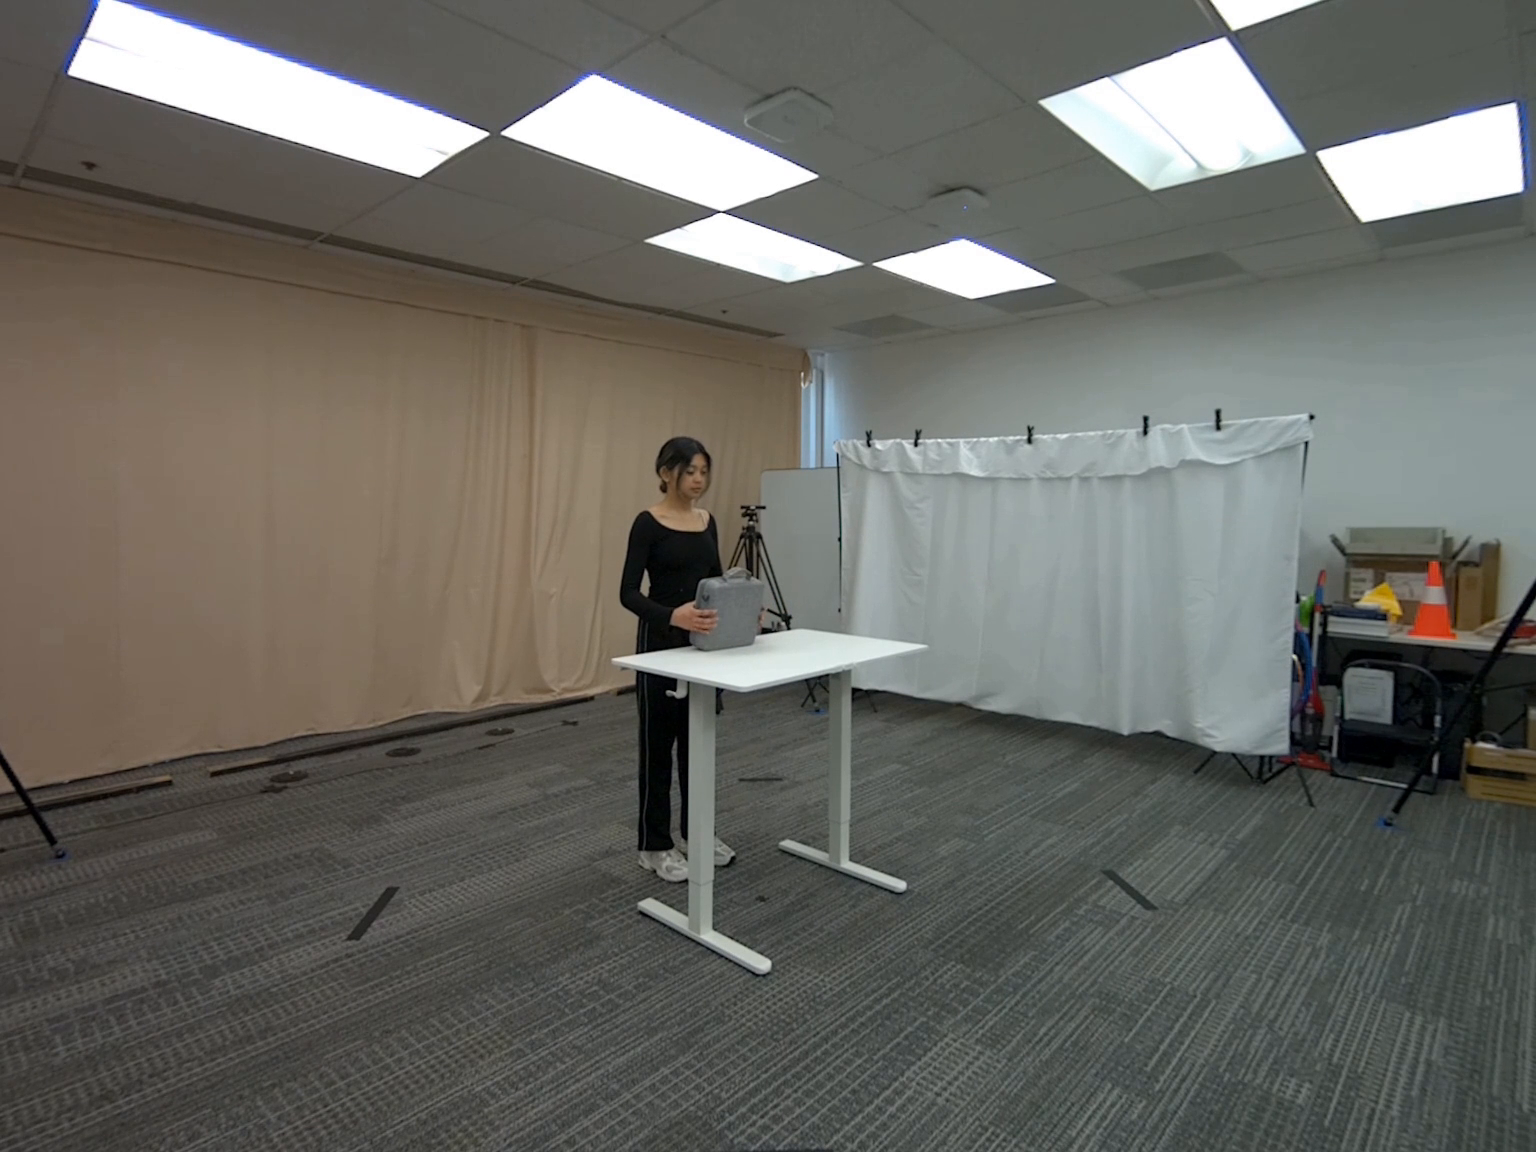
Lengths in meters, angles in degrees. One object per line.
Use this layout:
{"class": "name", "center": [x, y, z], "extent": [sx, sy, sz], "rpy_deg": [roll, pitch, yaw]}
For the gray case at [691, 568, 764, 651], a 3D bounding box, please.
{"class": "gray case", "center": [-0.148, 0.126, 3.009], "extent": [0.249, 0.259, 0.108], "rpy_deg": [-2, 17, -36]}
